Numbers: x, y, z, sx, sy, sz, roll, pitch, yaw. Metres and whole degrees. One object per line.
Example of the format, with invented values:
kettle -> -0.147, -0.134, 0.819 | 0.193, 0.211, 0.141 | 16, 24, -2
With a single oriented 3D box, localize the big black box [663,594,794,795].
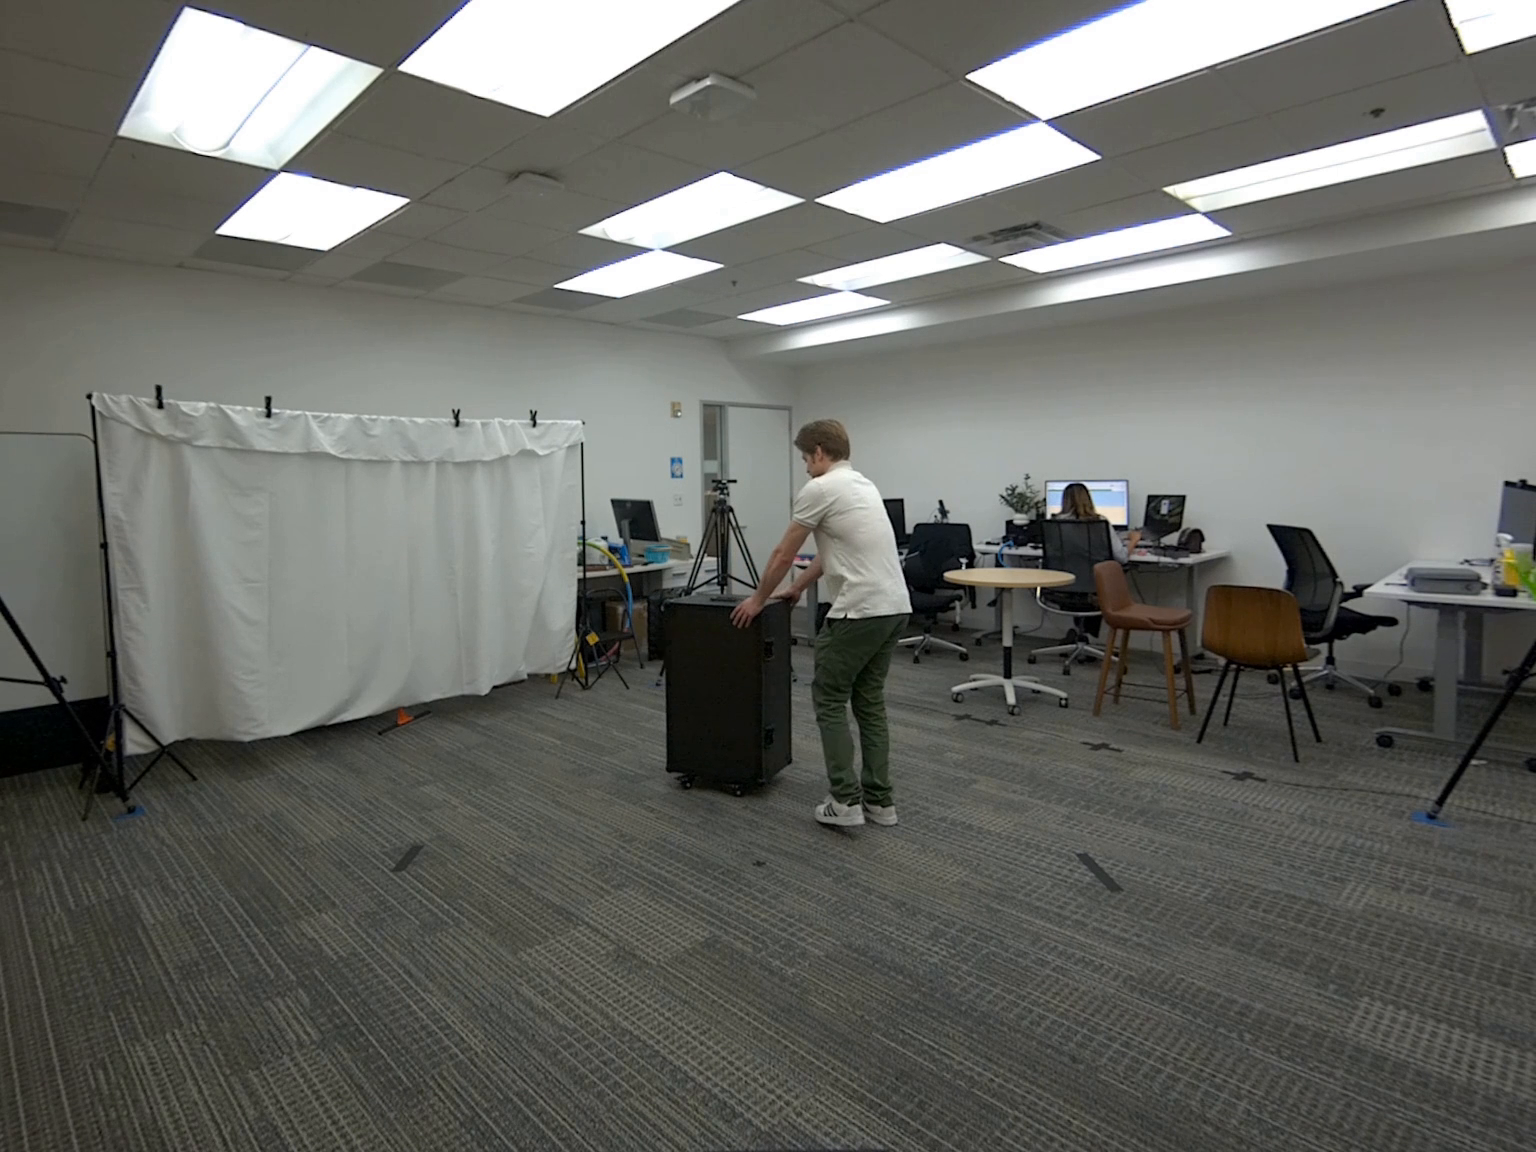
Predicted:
big black box -> -0.180, 0.531, 3.951 | 0.536, 0.866, 0.377 | 2, 4, 25
